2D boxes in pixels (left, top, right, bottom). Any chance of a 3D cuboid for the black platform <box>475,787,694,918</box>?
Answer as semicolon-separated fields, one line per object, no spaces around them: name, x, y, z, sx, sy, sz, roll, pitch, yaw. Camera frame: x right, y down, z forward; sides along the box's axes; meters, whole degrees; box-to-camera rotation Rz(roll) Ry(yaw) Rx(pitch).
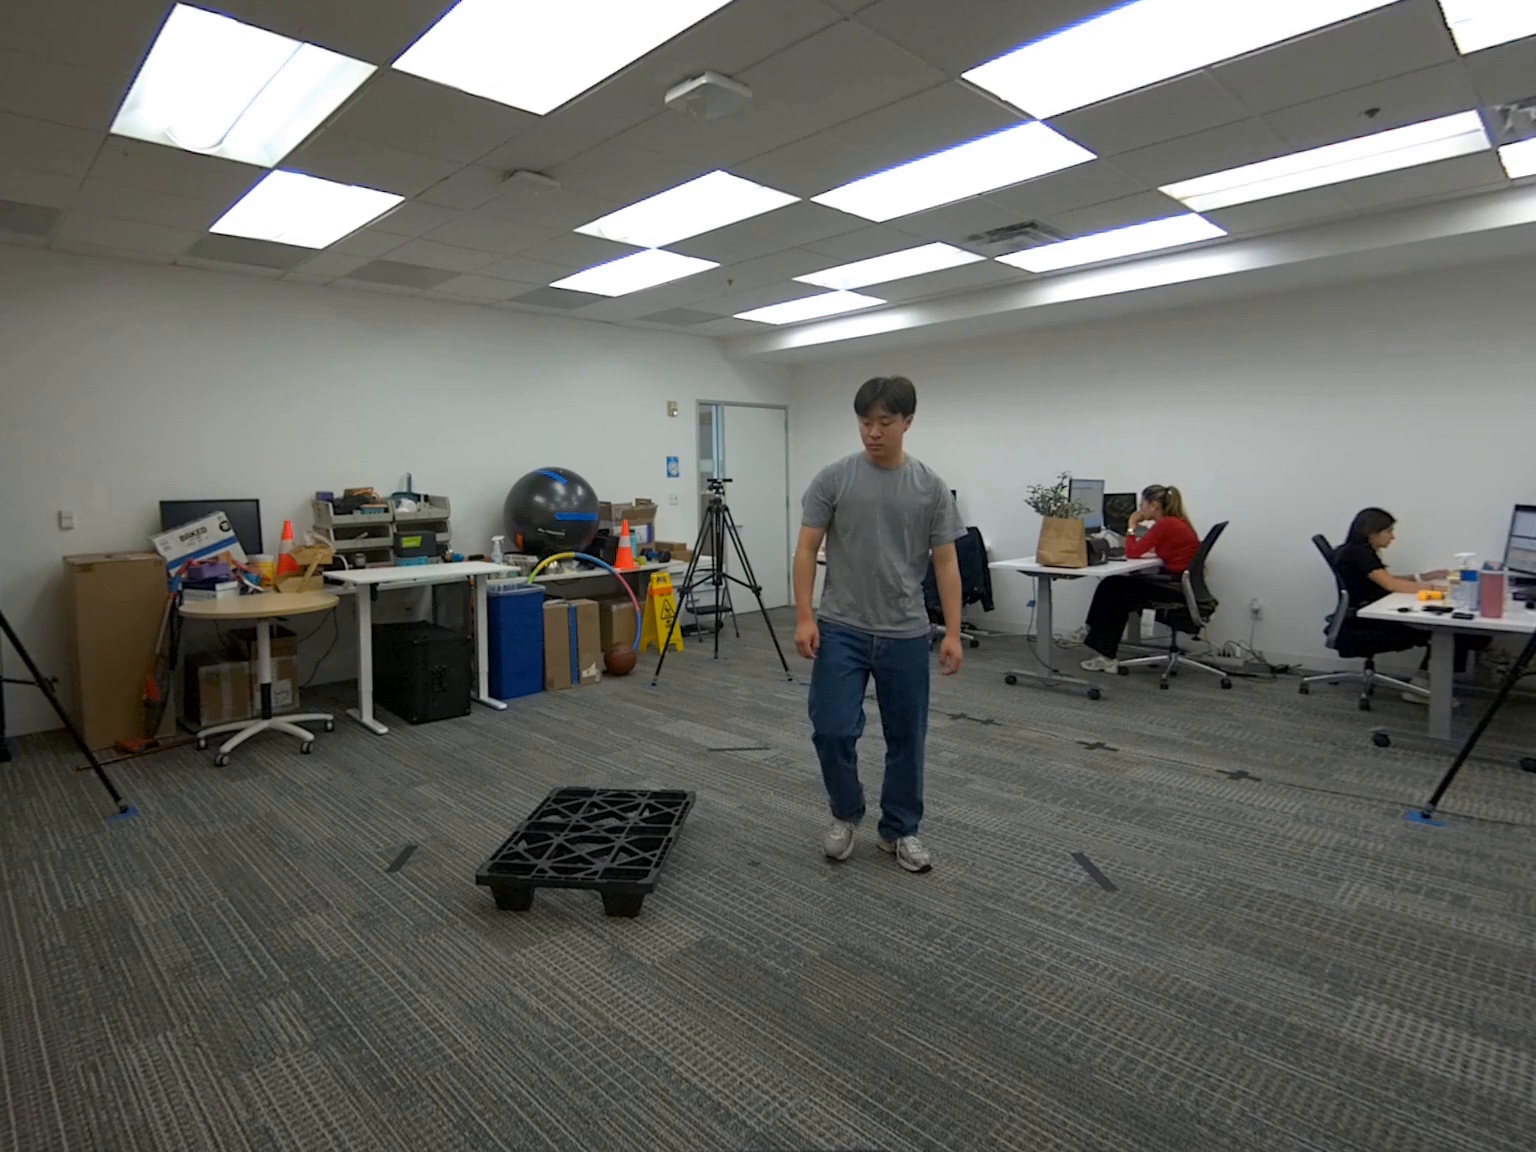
black platform;-0.613;0.982;3.126;0.610;0.142;0.804;0;7;6
